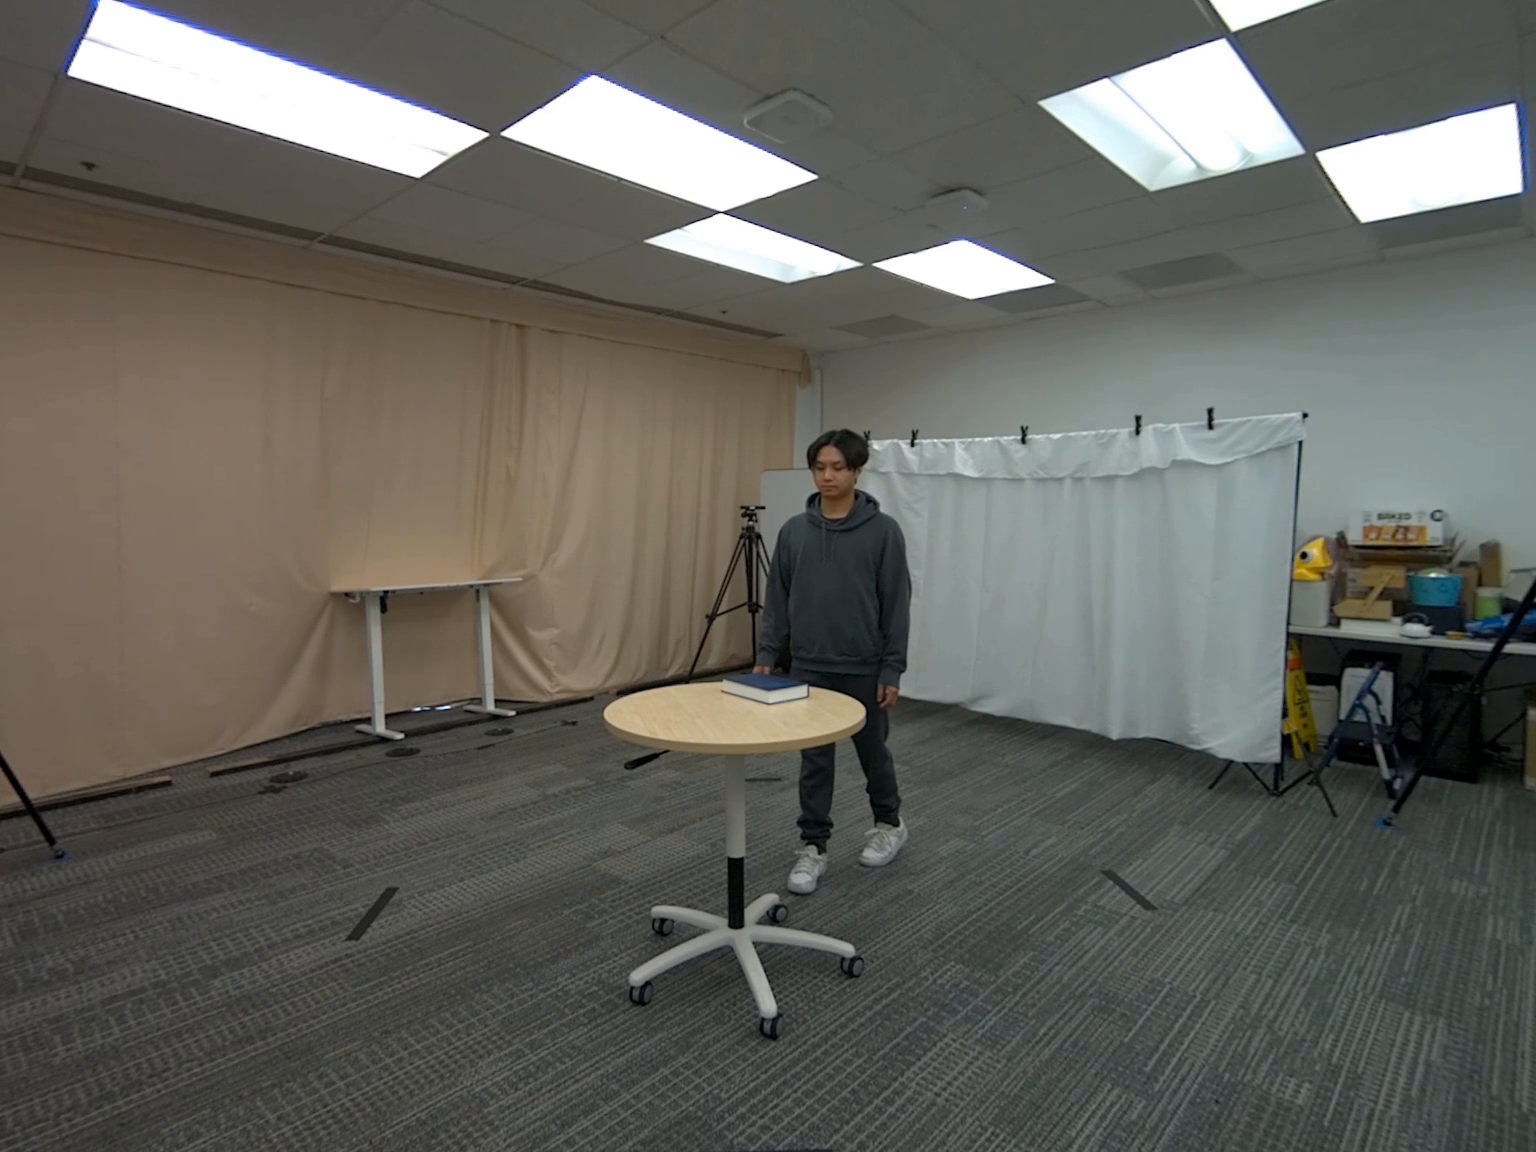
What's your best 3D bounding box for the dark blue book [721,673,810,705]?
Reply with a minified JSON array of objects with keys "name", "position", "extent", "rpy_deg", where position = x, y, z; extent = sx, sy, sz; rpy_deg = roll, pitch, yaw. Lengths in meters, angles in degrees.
[{"name":"dark blue book","position":[-0.019,0.360,2.651],"extent":[0.159,0.045,0.253],"rpy_deg":[-4,6,-35]}]
